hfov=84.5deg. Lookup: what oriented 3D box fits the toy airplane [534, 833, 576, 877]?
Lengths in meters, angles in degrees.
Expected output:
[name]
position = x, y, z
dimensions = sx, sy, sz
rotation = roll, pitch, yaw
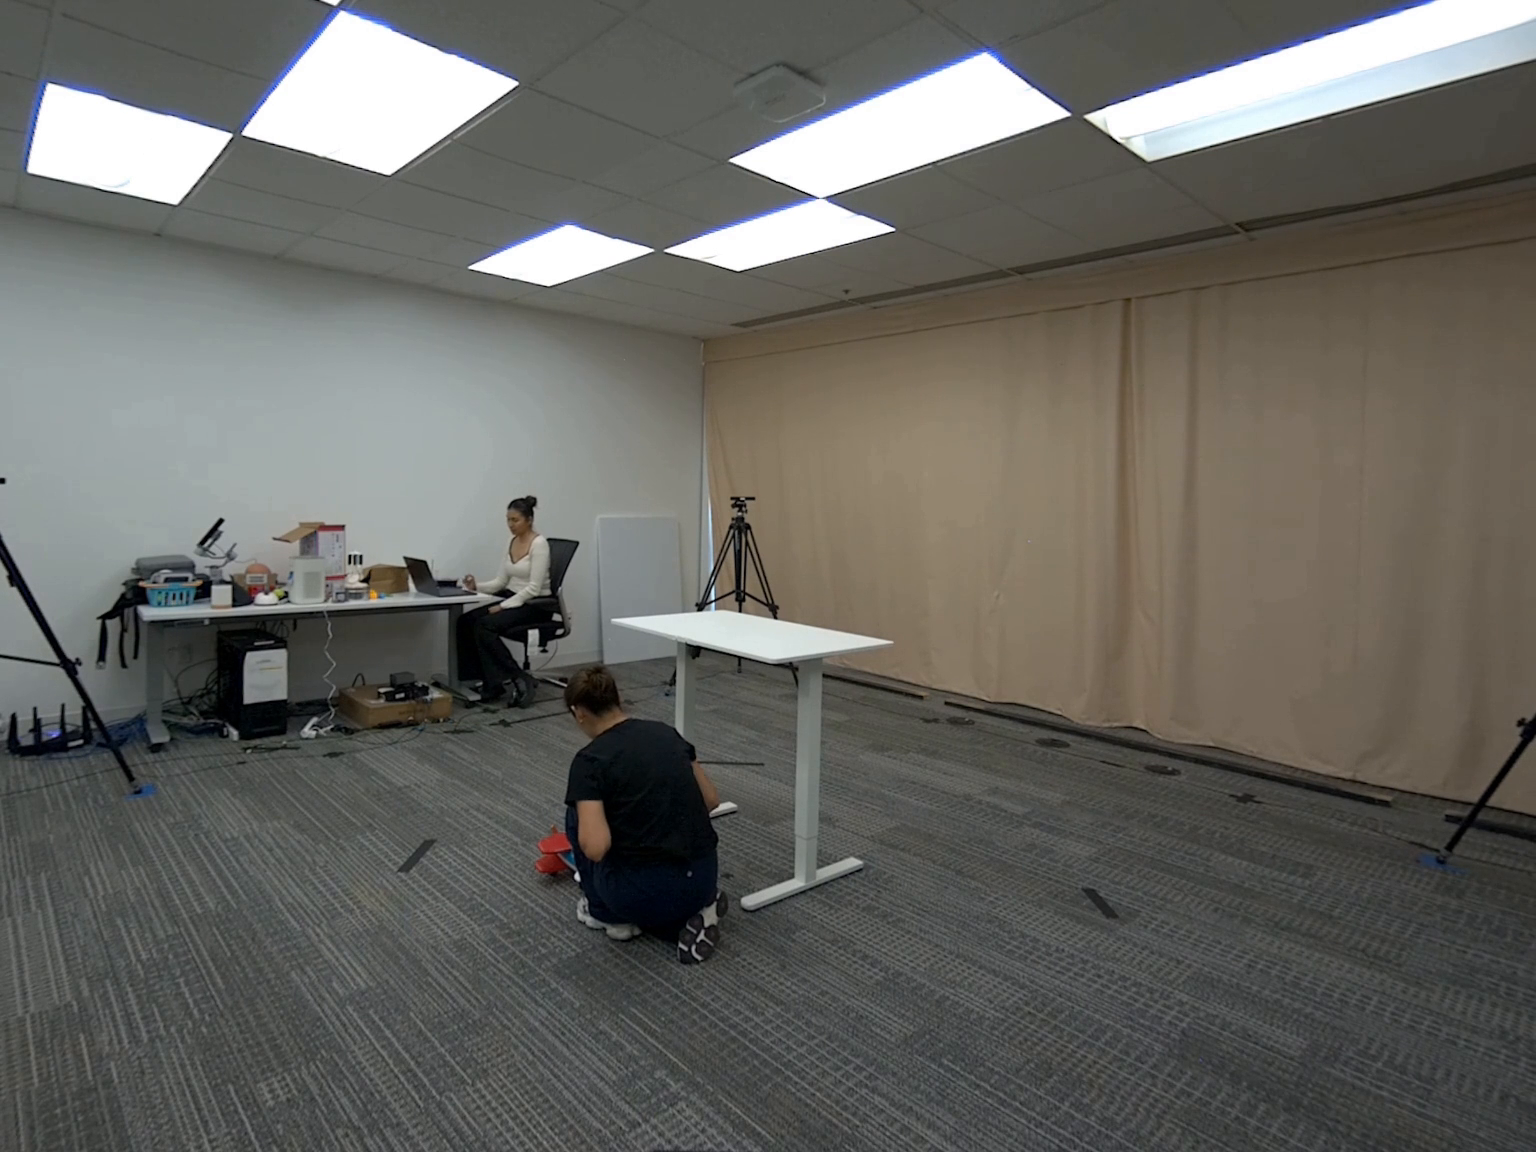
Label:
[toy airplane]
position = -0.691, 1.022, 3.046
dimensions = 0.263, 0.156, 0.248
rotation = 2, 3, 19
